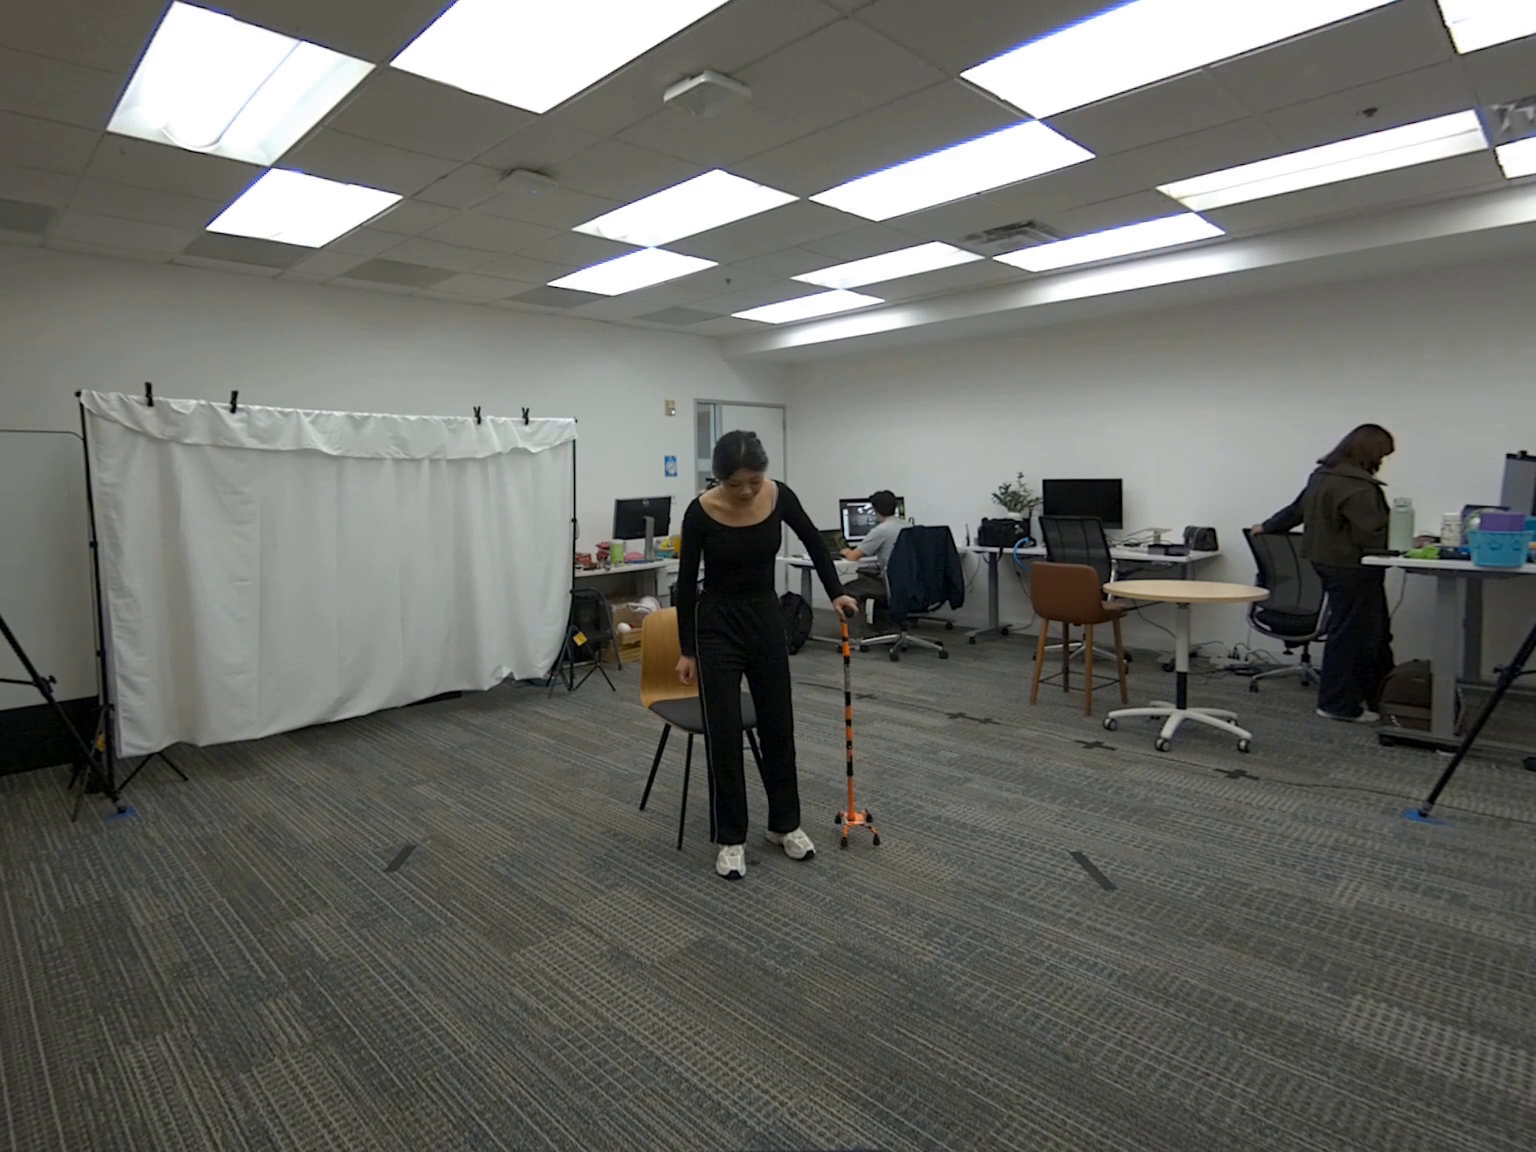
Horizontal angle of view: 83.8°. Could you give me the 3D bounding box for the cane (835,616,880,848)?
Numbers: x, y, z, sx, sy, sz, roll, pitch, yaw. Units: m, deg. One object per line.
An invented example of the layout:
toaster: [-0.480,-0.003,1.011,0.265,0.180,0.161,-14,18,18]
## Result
cane: [0.322,0.548,3.219,0.151,0.900,0.208,-2,8,-2]
